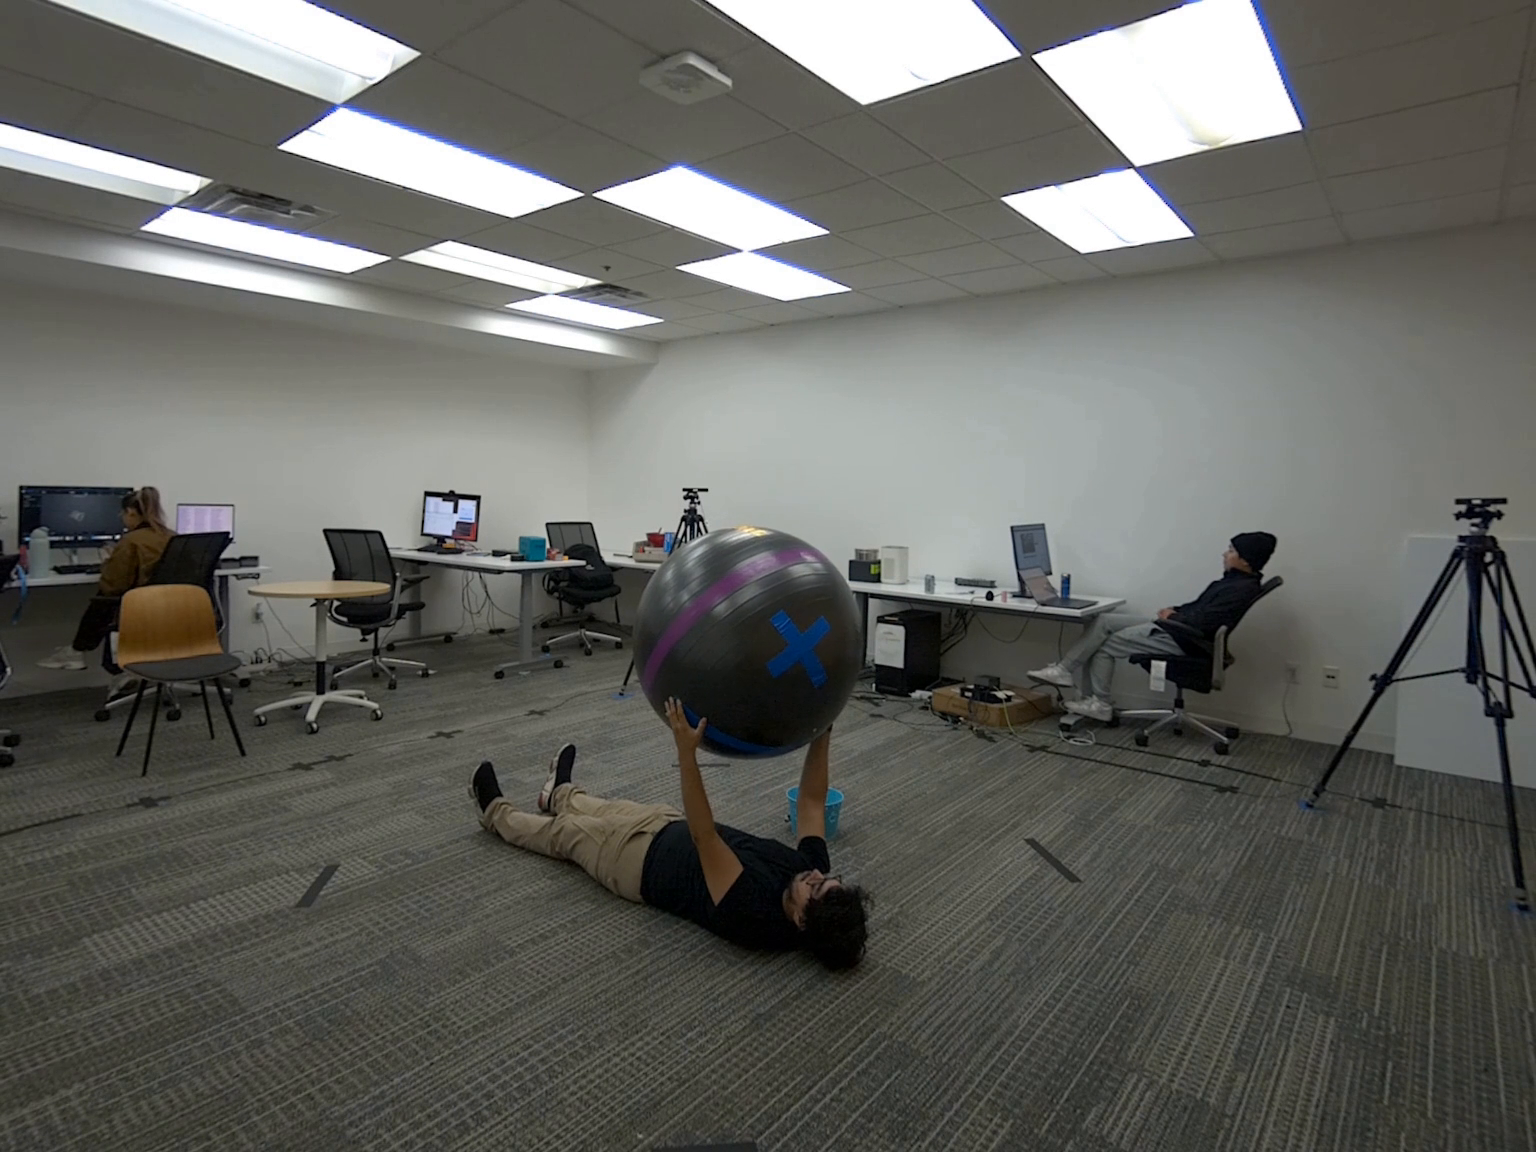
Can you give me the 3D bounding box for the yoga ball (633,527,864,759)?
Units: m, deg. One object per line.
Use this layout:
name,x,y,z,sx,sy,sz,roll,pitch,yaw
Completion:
yoga ball,-0.075,0.219,2.809,0.757,0.756,0.761,0,4,-2
